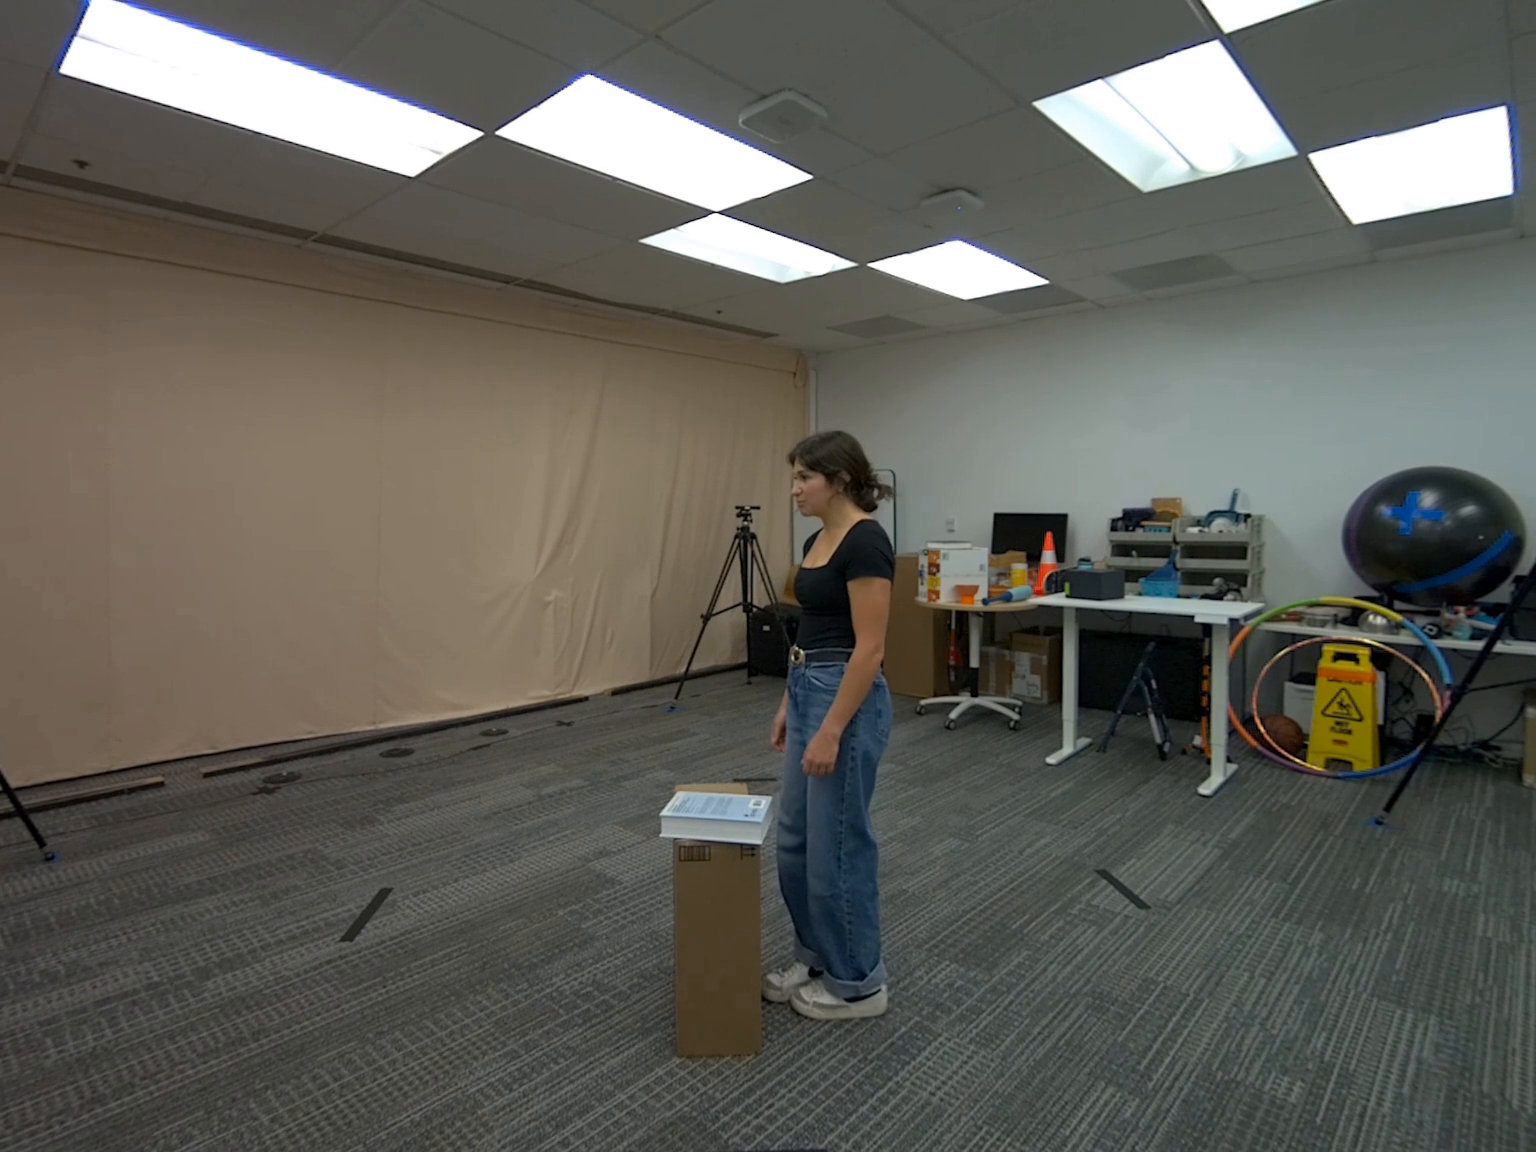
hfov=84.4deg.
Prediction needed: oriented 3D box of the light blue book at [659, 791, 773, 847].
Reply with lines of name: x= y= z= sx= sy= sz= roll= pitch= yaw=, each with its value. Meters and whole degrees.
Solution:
light blue book: x=-0.120 y=0.625 z=2.165 sx=0.264 sy=0.059 sz=0.189 roll=0 pitch=4 yaw=10
